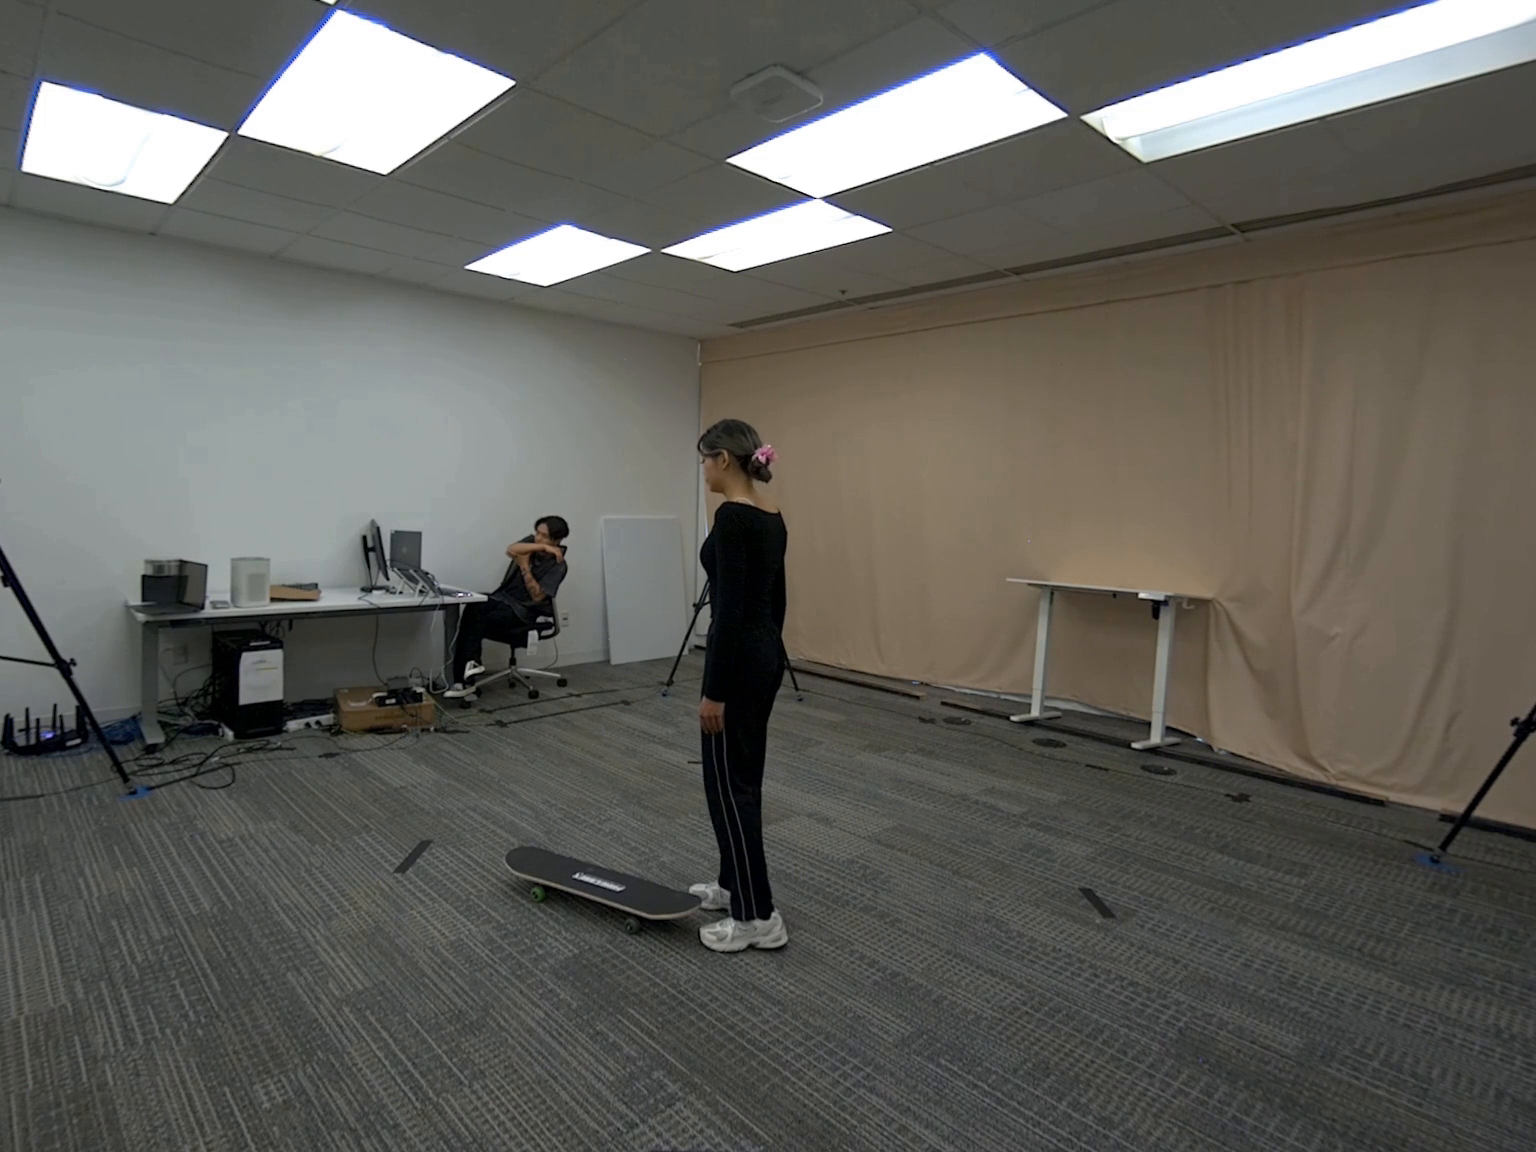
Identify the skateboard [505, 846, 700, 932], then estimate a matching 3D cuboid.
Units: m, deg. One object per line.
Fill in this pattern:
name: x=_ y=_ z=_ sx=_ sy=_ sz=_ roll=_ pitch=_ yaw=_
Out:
skateboard: x=-0.579 y=1.067 z=2.842 sx=0.802 sy=0.110 sz=0.190 roll=5 pitch=6 yaw=29
